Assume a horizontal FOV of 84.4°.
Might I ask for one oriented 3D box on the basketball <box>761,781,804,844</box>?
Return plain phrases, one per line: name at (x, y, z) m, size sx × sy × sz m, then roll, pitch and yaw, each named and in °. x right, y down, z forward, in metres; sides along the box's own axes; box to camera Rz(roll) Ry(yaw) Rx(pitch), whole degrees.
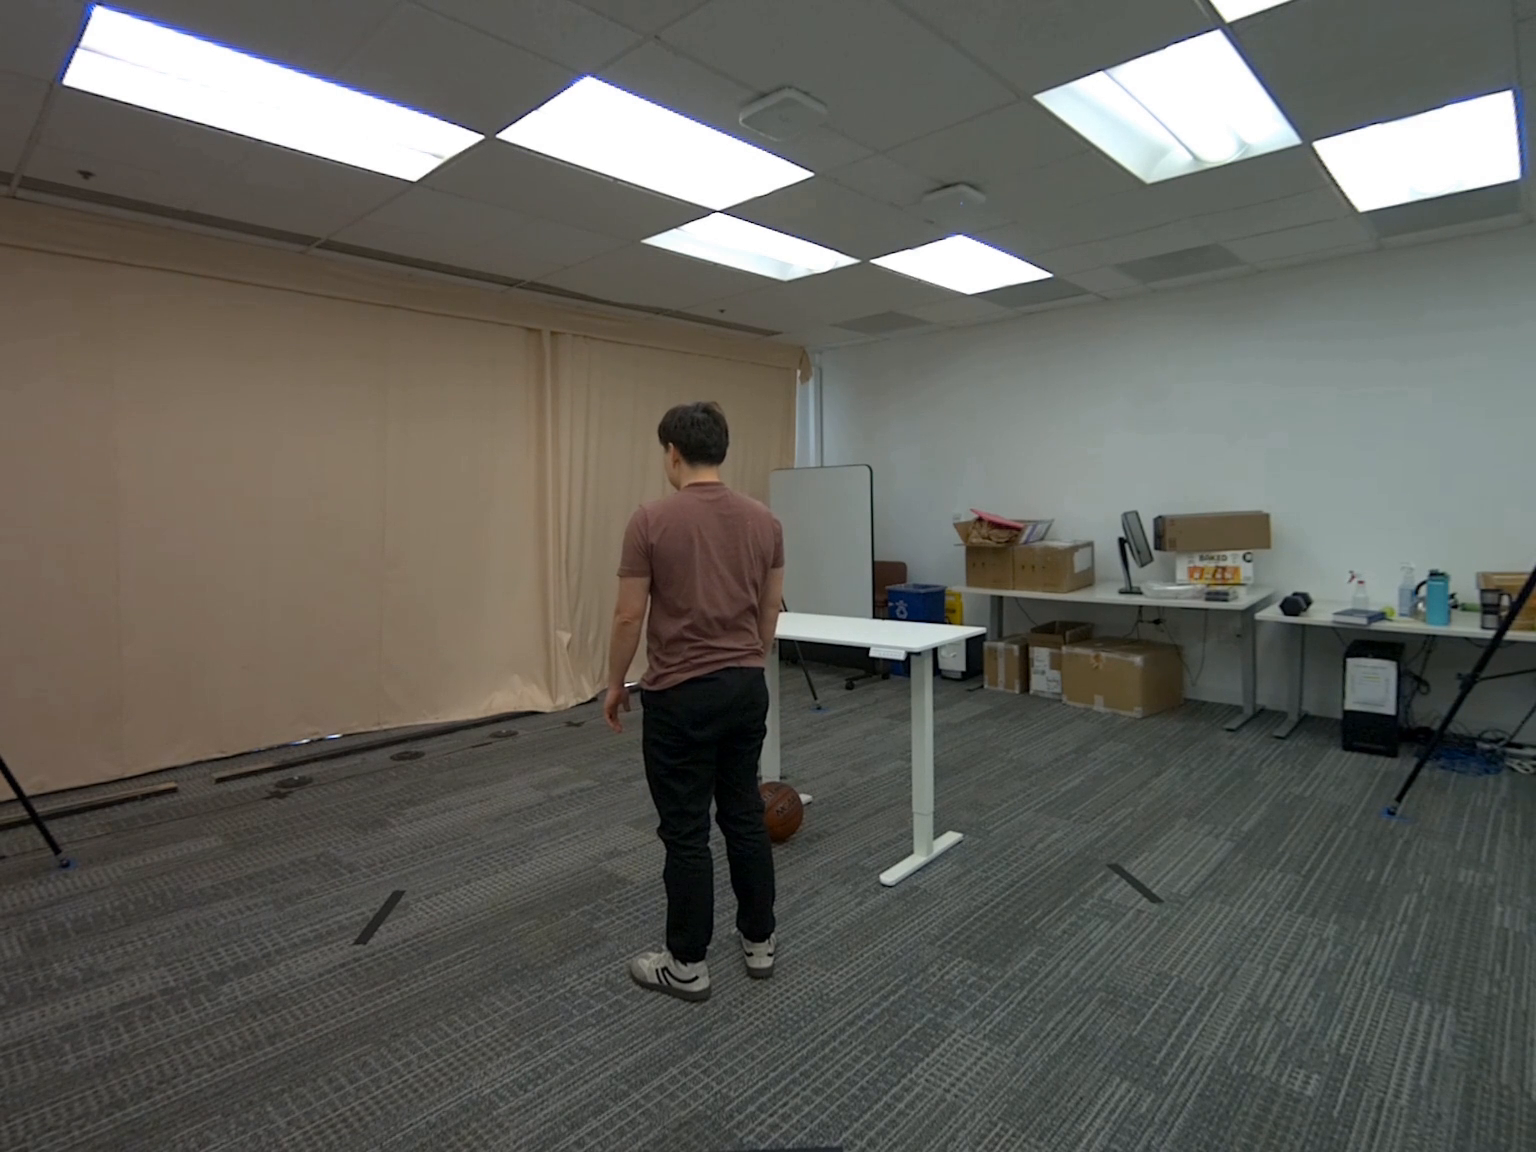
basketball at (0.029, 0.981, 3.497) m, size 0.236 × 0.235 × 0.237 m, roll -1°, pitch 4°, yaw -2°
